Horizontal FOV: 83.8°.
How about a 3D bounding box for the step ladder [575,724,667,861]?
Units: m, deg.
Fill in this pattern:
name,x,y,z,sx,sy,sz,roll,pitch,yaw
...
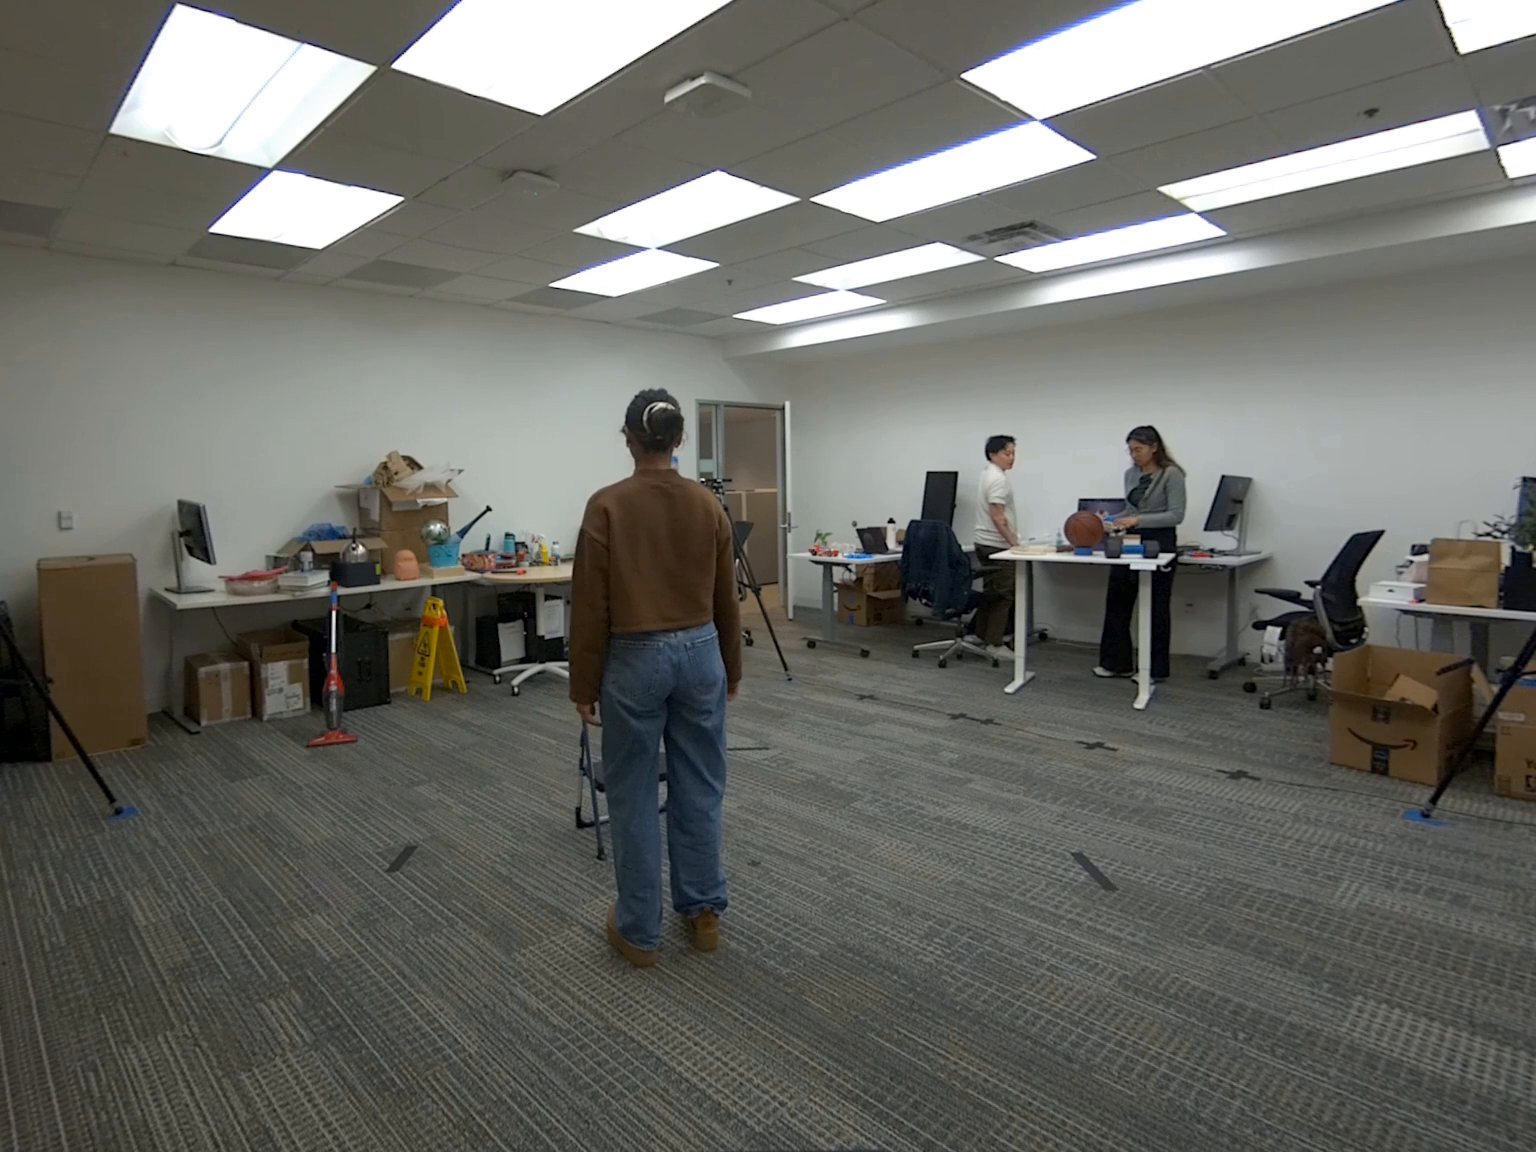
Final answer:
name,x,y,z,sx,sy,sz,roll,pitch,yaw
step ladder,-0.522,0.720,3.383,0.421,0.604,0.358,-3,5,-28
